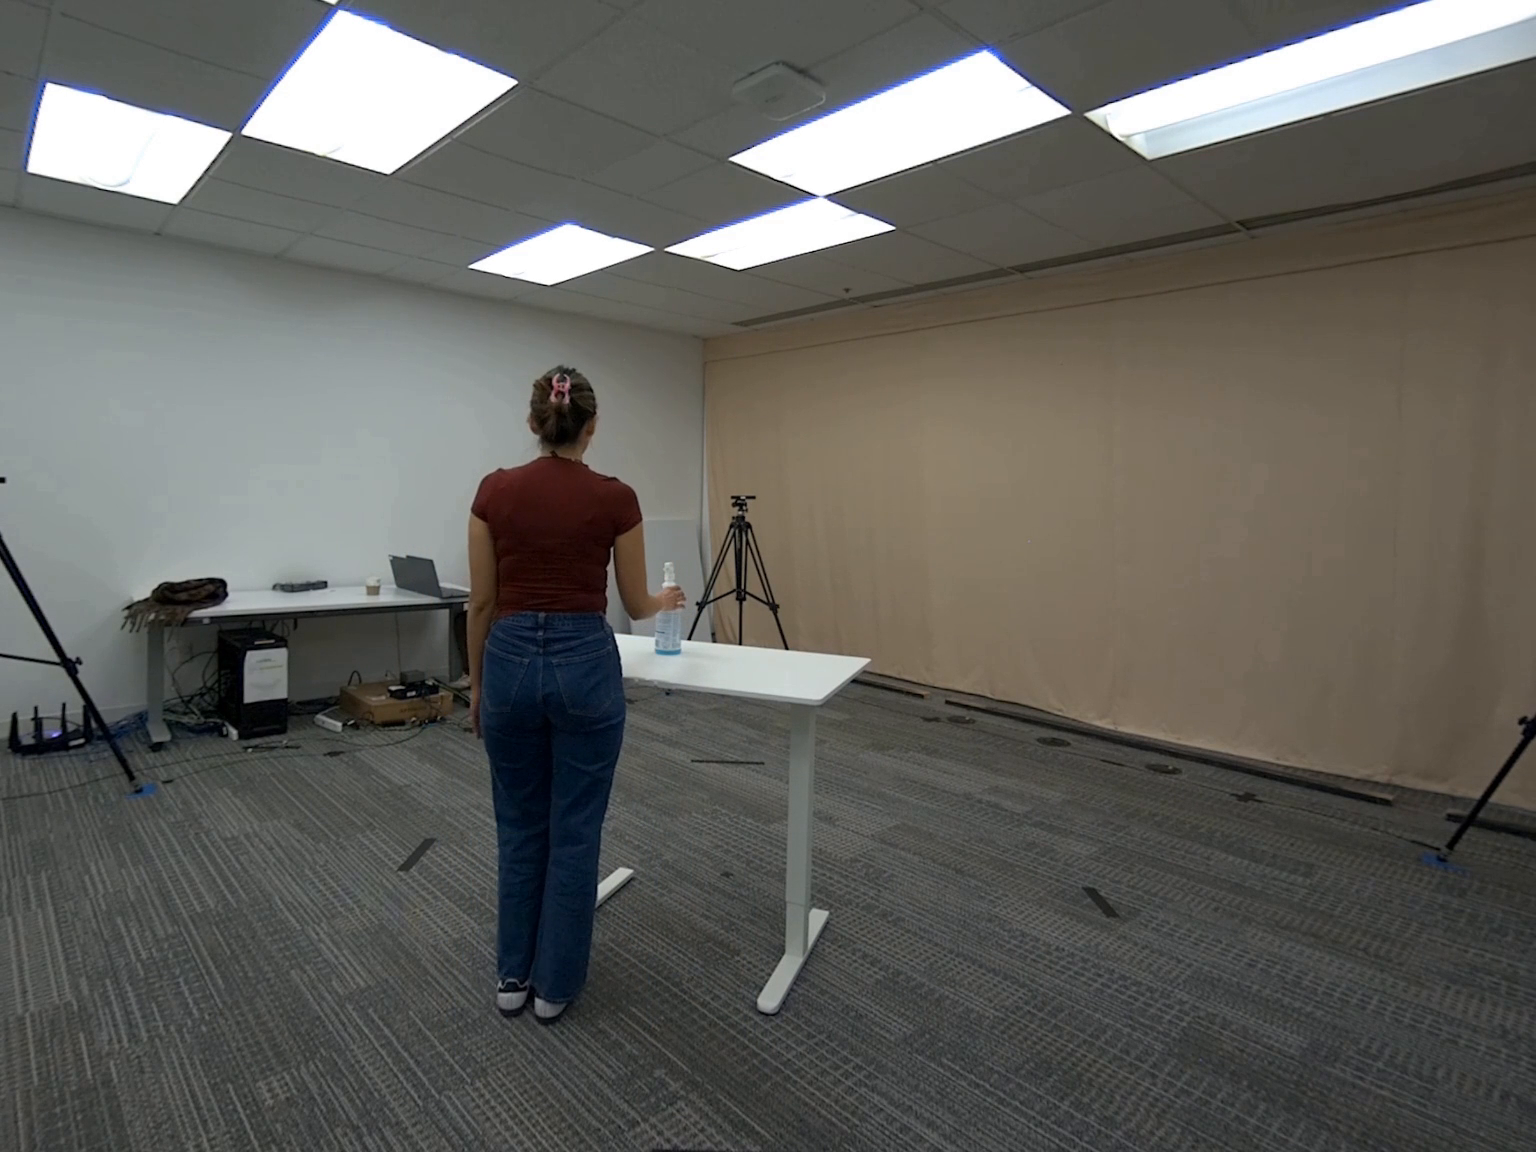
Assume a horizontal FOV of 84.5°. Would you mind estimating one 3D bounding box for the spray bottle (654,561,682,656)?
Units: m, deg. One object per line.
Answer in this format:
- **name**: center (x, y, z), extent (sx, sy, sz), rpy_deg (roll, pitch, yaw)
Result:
- **spray bottle**: center (-0.331, 0.107, 2.717), extent (0.089, 0.296, 0.088), rpy_deg (4, 7, 30)
